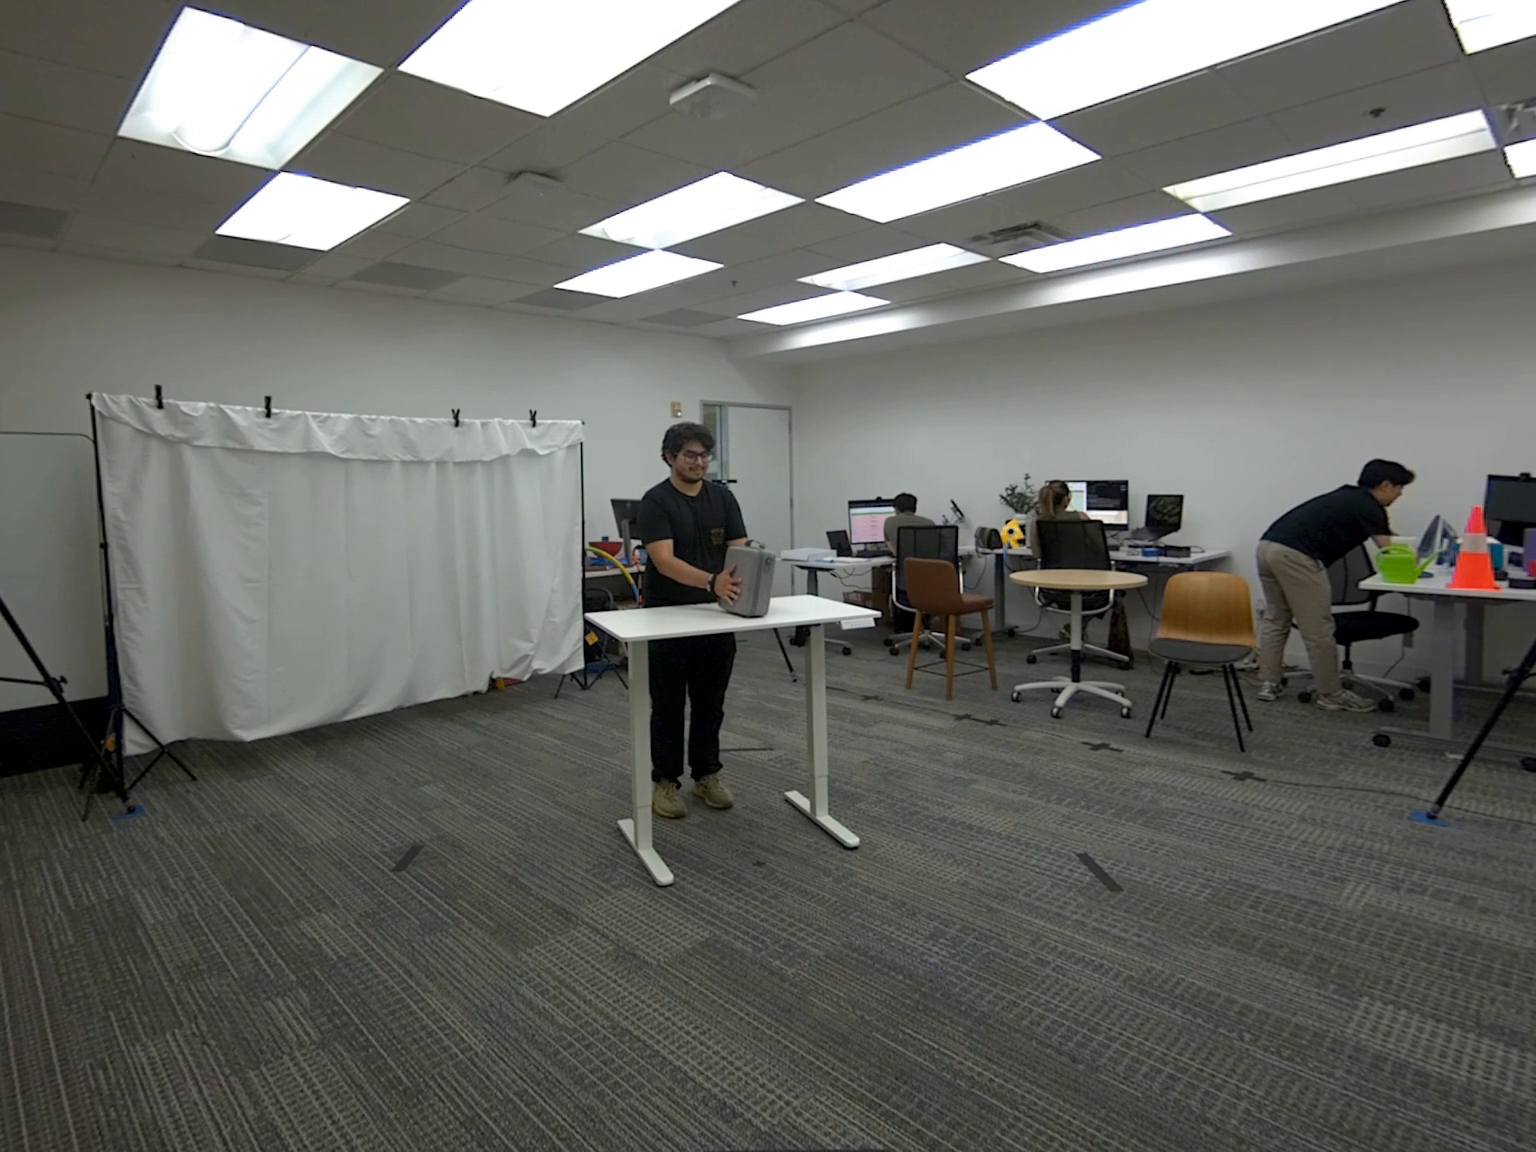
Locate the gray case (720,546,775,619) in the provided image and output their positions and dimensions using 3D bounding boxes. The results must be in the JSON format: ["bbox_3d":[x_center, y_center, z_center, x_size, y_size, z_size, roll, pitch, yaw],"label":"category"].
[{"bbox_3d":[-0.081,0.015,3.270,0.102,0.261,0.263,7,0,-25],"label":"gray case"}]
